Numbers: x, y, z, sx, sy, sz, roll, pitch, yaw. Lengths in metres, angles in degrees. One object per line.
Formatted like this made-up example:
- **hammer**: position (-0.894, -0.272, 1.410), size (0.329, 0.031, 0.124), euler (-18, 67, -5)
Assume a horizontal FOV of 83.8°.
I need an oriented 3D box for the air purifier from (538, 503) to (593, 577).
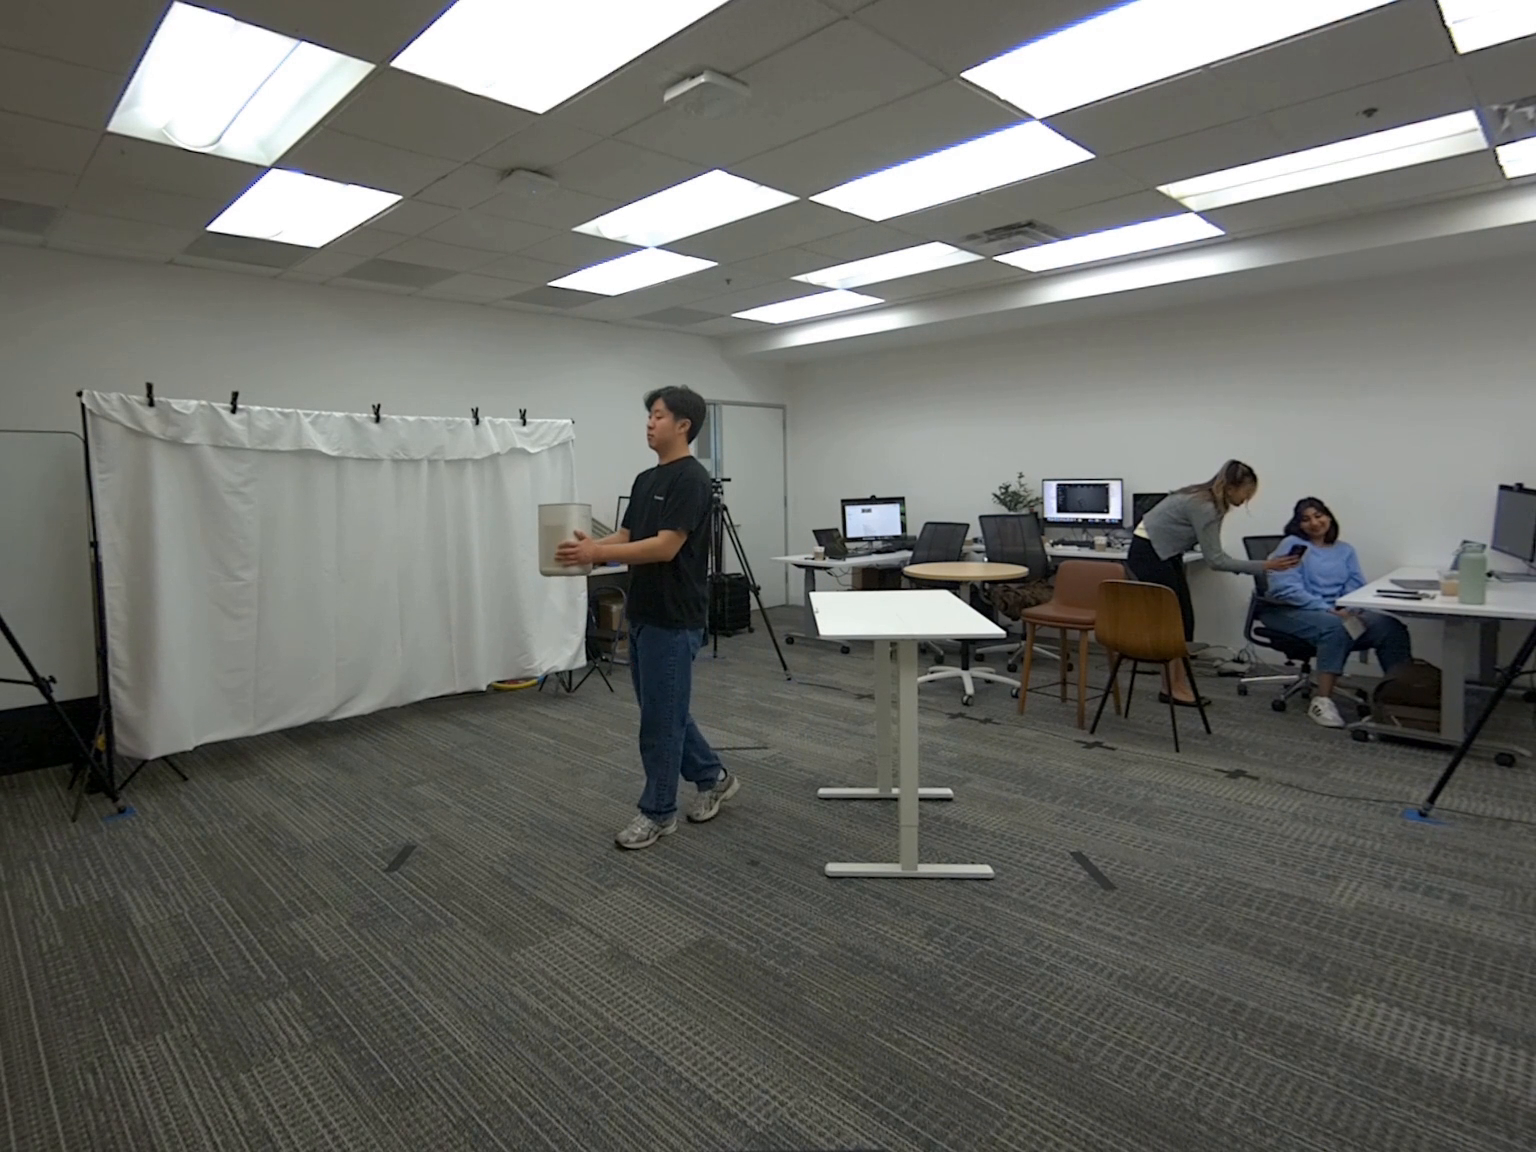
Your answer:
- **air purifier**: position (-0.745, -0.134, 3.169), size (0.174, 0.265, 0.168), euler (-1, 0, 17)
